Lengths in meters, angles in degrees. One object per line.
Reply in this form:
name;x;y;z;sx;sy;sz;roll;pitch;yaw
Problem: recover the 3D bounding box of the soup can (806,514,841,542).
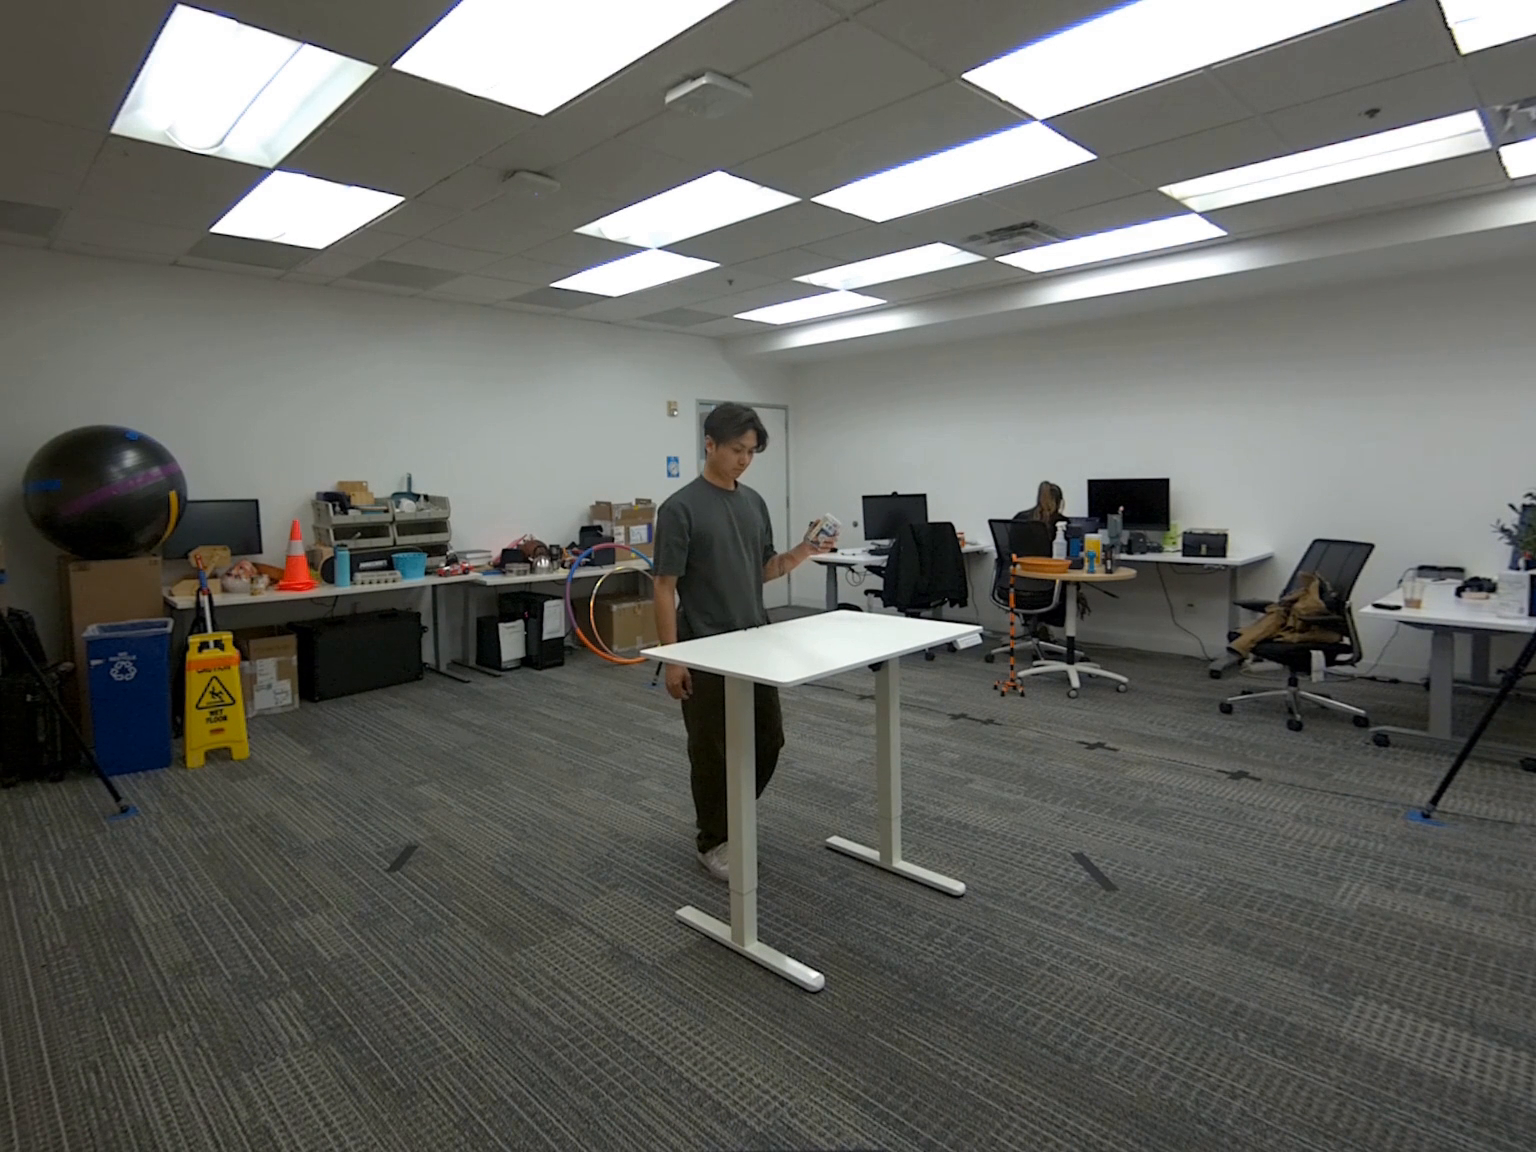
soup can;0.195;-0.159;2.980;0.067;0.121;0.067;42;1;-3
